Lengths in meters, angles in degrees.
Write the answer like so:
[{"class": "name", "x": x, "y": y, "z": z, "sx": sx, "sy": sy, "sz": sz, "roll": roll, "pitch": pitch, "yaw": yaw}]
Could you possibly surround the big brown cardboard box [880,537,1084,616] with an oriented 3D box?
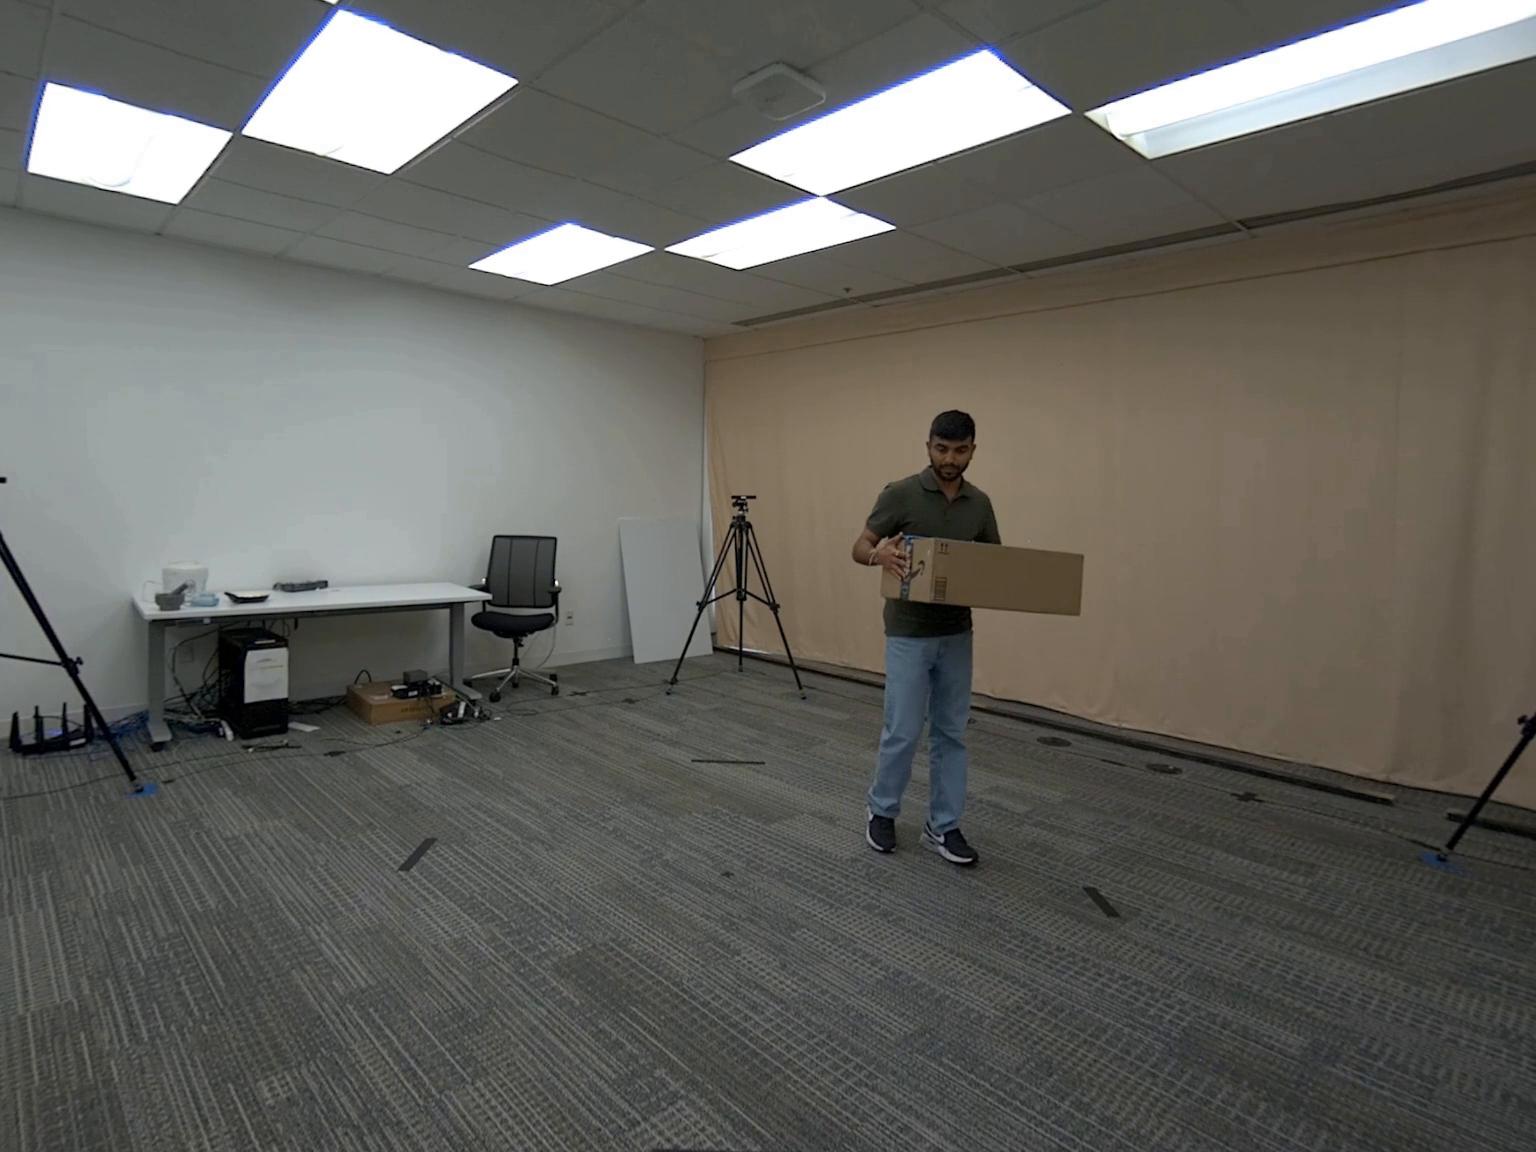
[{"class": "big brown cardboard box", "x": 0.737, "y": -0.001, "z": 3.008, "sx": 0.582, "sy": 0.233, "sz": 0.422, "roll": 5, "pitch": 0, "yaw": -15}]
